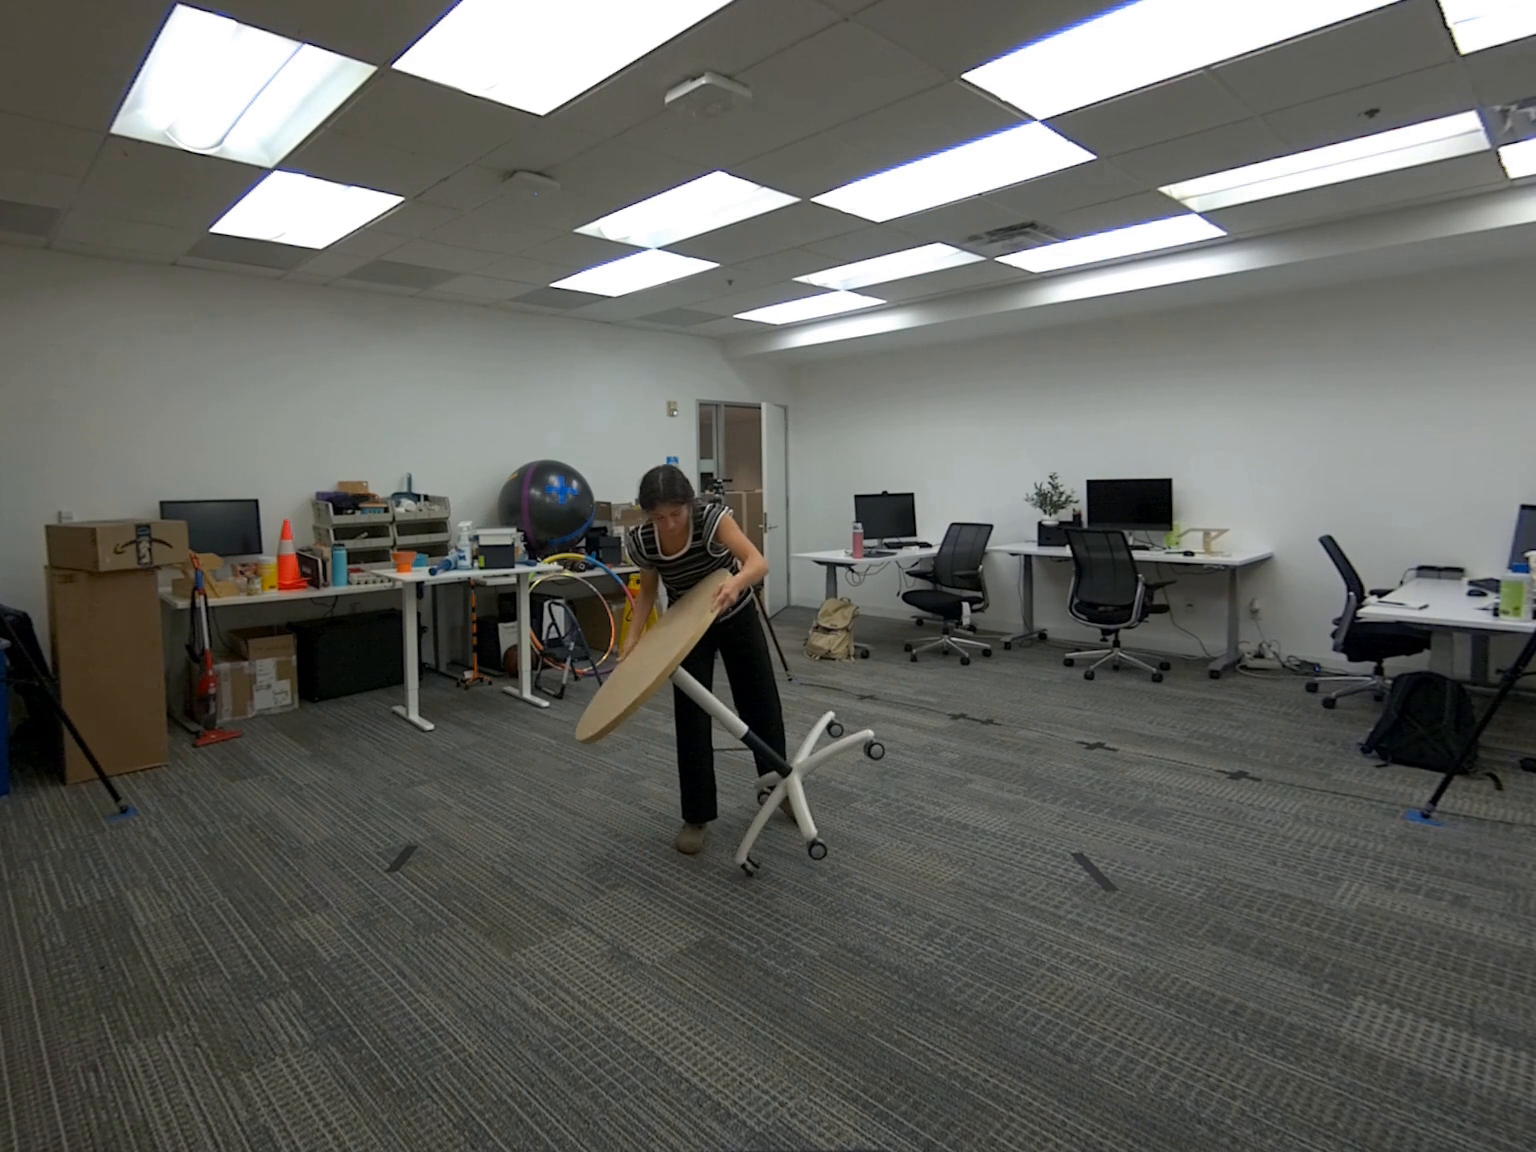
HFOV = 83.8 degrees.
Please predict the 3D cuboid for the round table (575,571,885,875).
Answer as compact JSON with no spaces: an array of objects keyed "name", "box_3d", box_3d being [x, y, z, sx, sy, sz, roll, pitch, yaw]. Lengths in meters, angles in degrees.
[{"name":"round table","box_3d":[-0.111,0.538,2.982,0.764,0.784,0.774,-44,11,8]}]
